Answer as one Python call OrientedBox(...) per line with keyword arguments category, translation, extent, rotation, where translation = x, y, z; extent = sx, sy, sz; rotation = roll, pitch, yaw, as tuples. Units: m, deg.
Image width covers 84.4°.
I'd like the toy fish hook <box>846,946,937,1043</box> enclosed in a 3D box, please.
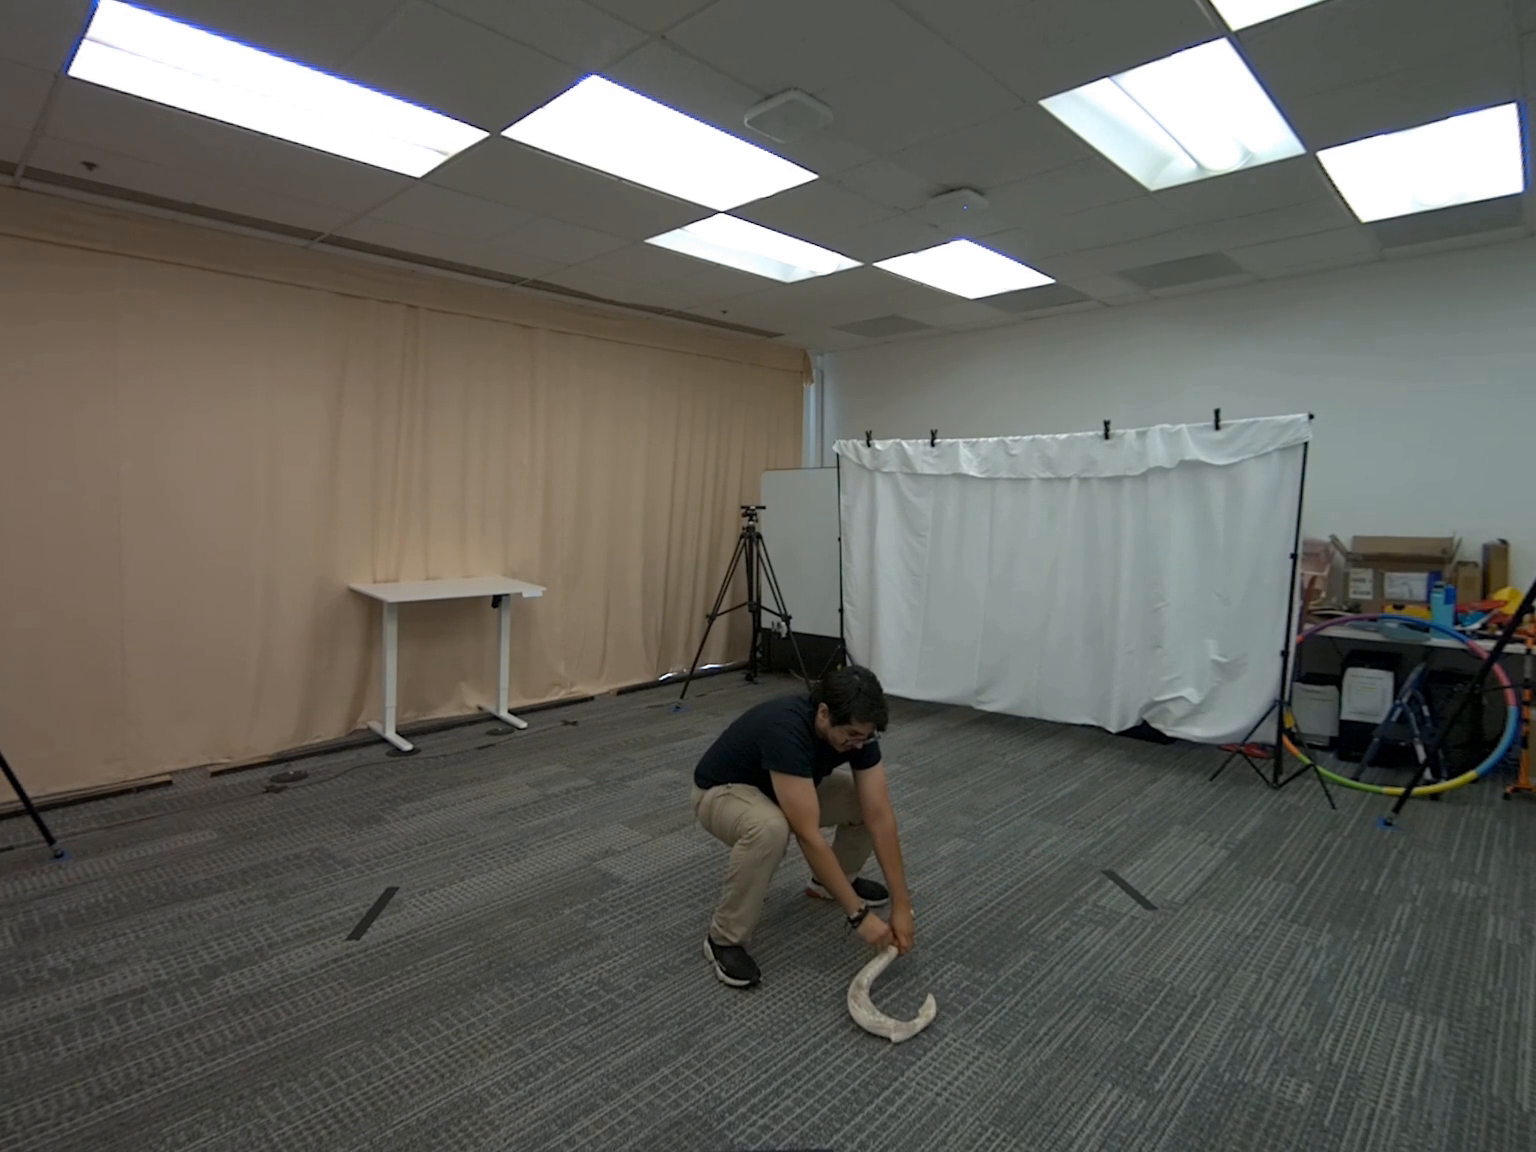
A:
OrientedBox(category="toy fish hook", translation=(0.401, 1.131, 2.393), extent=(0.230, 0.048, 0.498), rotation=(16, 22, 21))
